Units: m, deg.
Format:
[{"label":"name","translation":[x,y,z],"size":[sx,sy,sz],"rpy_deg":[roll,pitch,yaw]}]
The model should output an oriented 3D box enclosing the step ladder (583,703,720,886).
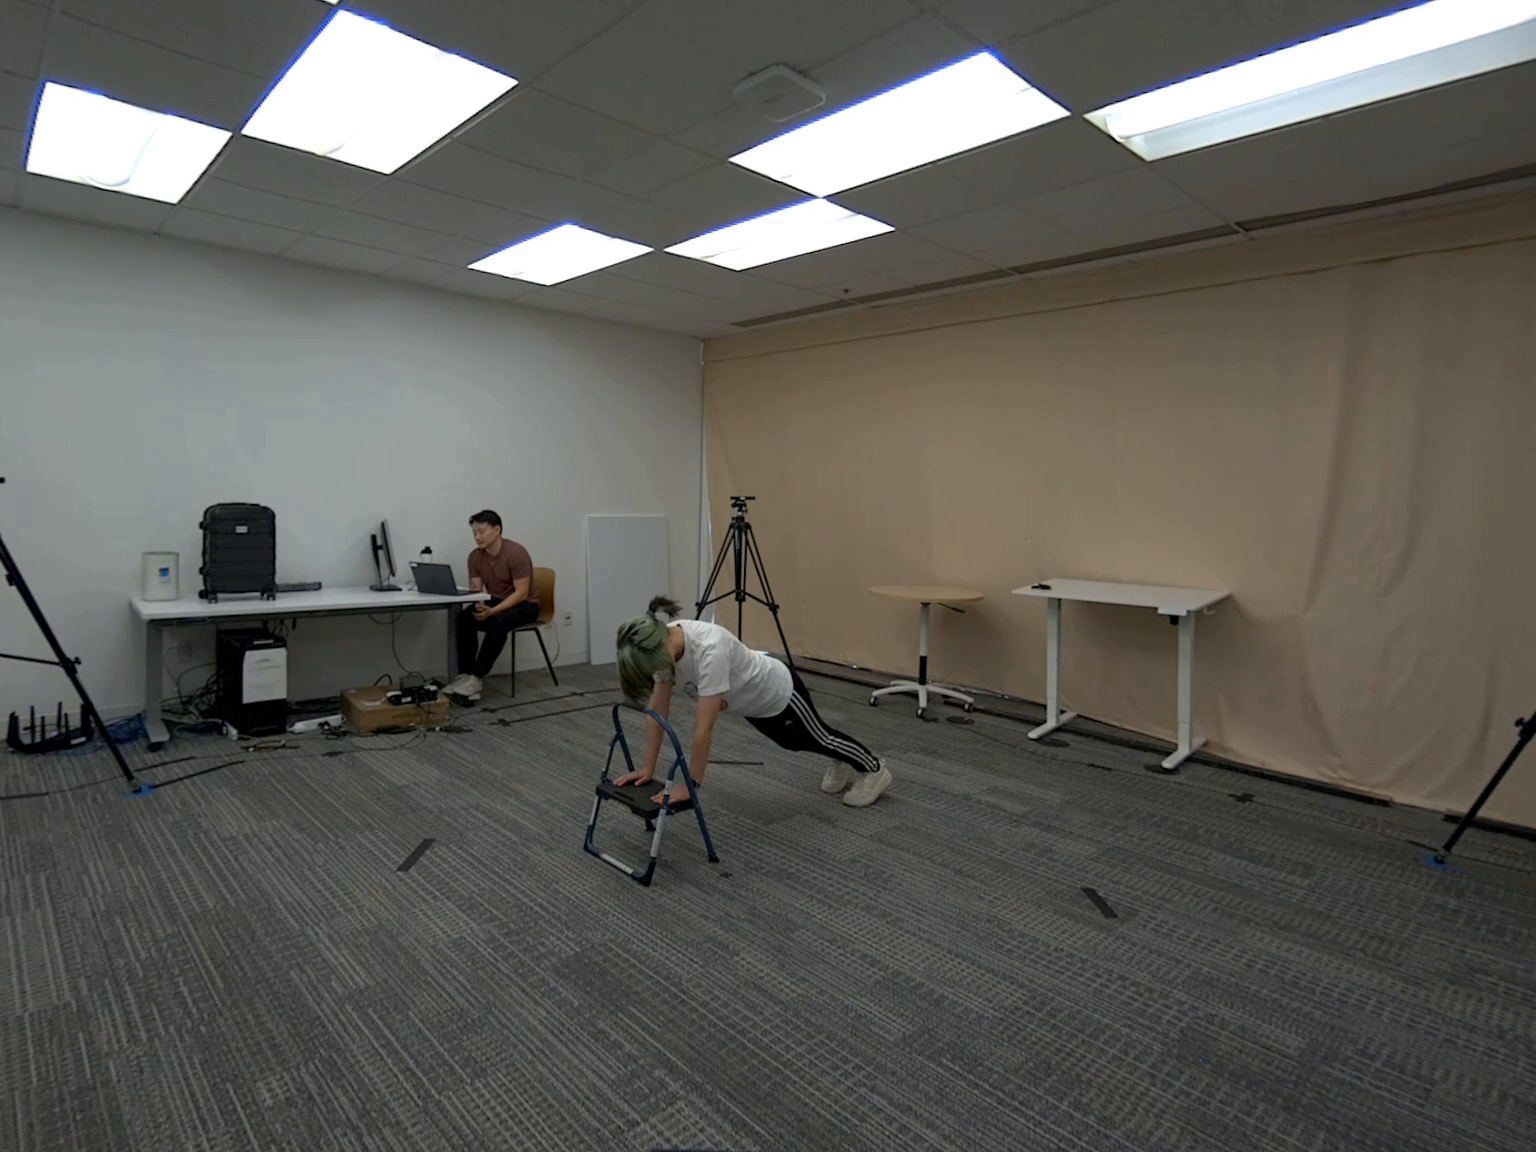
[{"label":"step ladder","translation":[-0.457,0.783,3.242],"size":[0.341,0.605,0.442],"rpy_deg":[-2,5,-44]}]
